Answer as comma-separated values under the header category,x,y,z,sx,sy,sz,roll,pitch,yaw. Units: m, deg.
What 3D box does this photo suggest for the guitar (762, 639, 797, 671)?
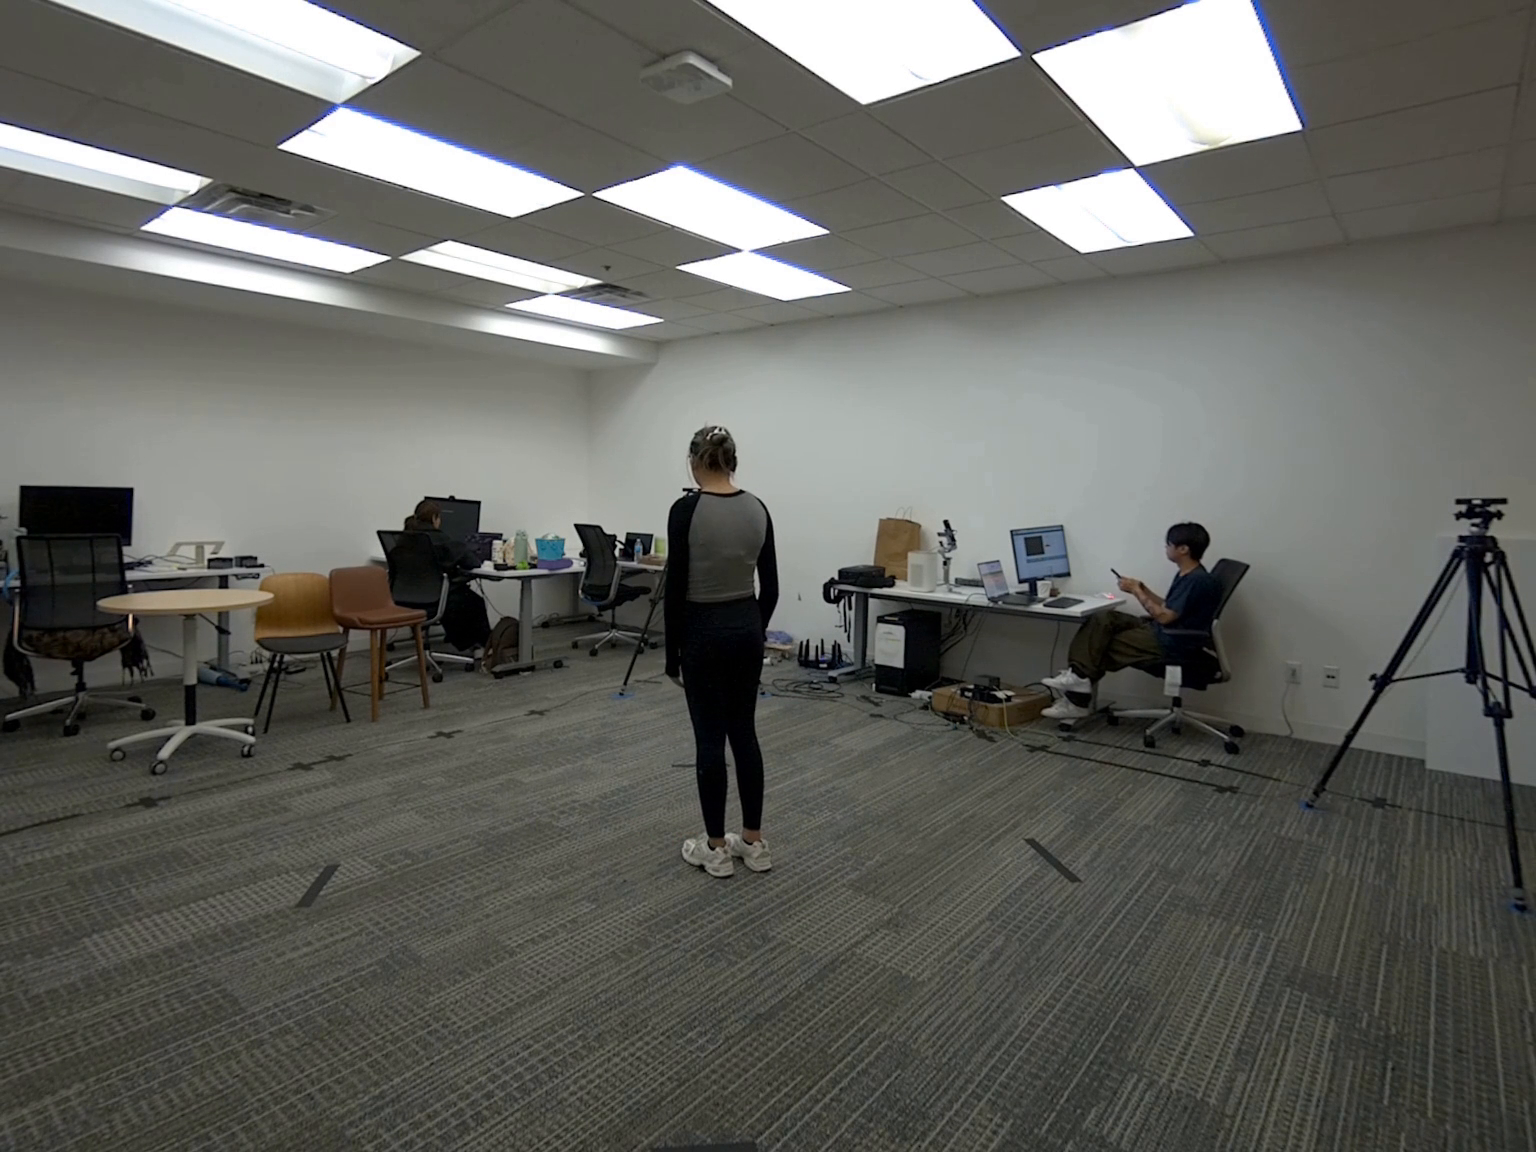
category,x,y,z,sx,sy,sz,roll,pitch,yaw
guitar,-0.141,0.284,3.379,0.515,0.070,0.187,8,10,43
